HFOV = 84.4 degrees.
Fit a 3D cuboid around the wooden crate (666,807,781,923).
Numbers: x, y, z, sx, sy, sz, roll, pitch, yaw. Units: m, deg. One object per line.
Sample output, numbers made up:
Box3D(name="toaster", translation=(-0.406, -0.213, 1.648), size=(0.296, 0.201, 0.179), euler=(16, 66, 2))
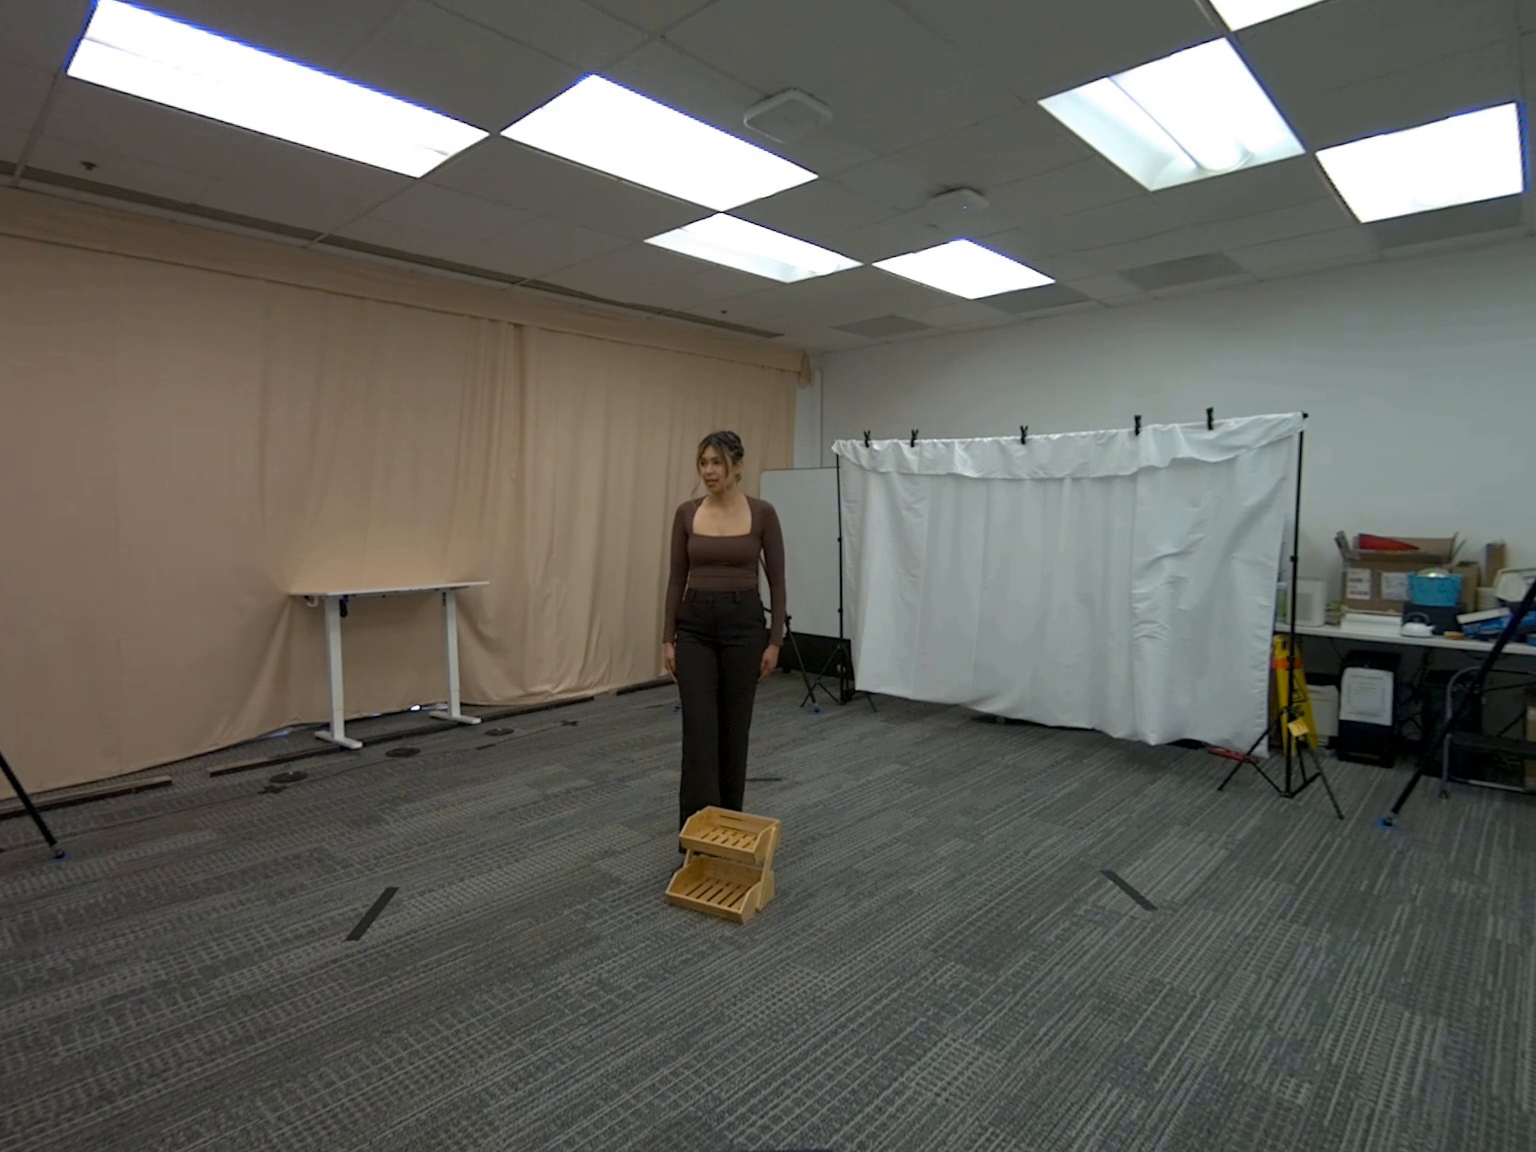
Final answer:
Box3D(name="wooden crate", translation=(-0.153, 1.010, 2.979), size=(0.333, 0.273, 0.294), euler=(2, 4, 29))
